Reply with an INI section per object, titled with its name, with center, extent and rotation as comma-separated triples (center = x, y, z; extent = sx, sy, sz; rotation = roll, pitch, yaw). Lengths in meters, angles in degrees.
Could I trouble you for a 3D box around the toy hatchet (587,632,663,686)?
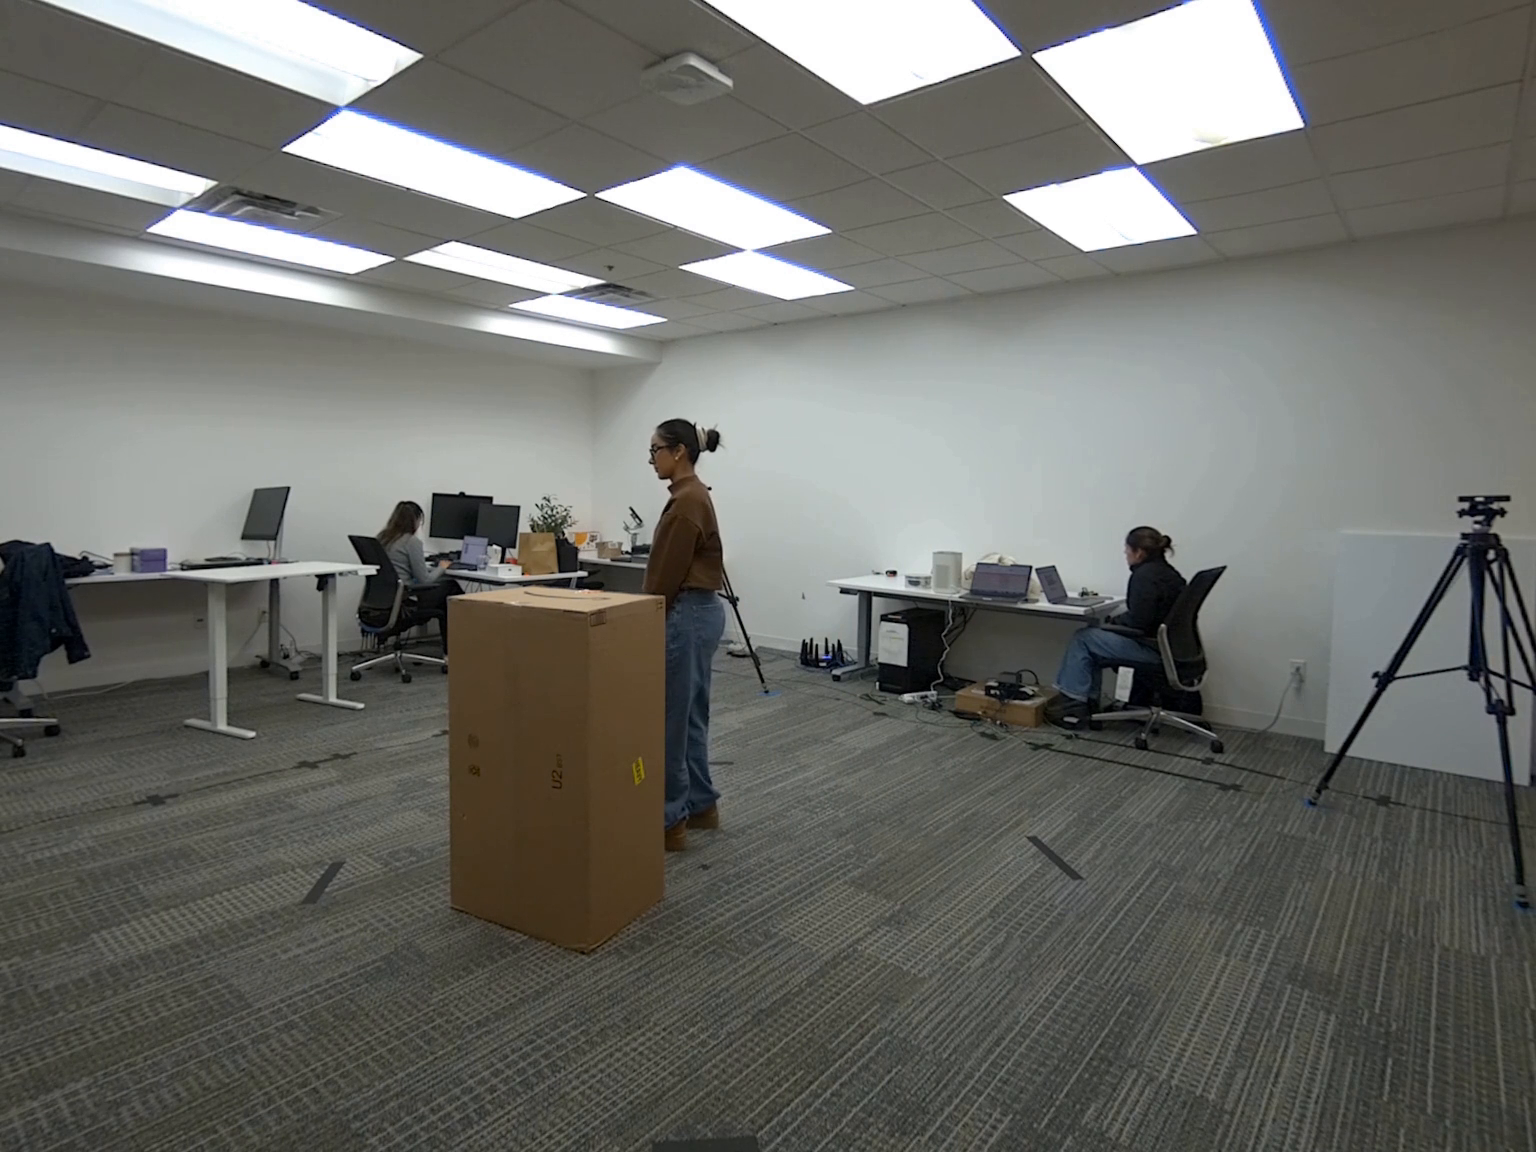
[toy hatchet]
center = -0.573, 0.329, 3.352
extent = 0.268, 0.129, 0.030
rotation = -17, 9, -9
